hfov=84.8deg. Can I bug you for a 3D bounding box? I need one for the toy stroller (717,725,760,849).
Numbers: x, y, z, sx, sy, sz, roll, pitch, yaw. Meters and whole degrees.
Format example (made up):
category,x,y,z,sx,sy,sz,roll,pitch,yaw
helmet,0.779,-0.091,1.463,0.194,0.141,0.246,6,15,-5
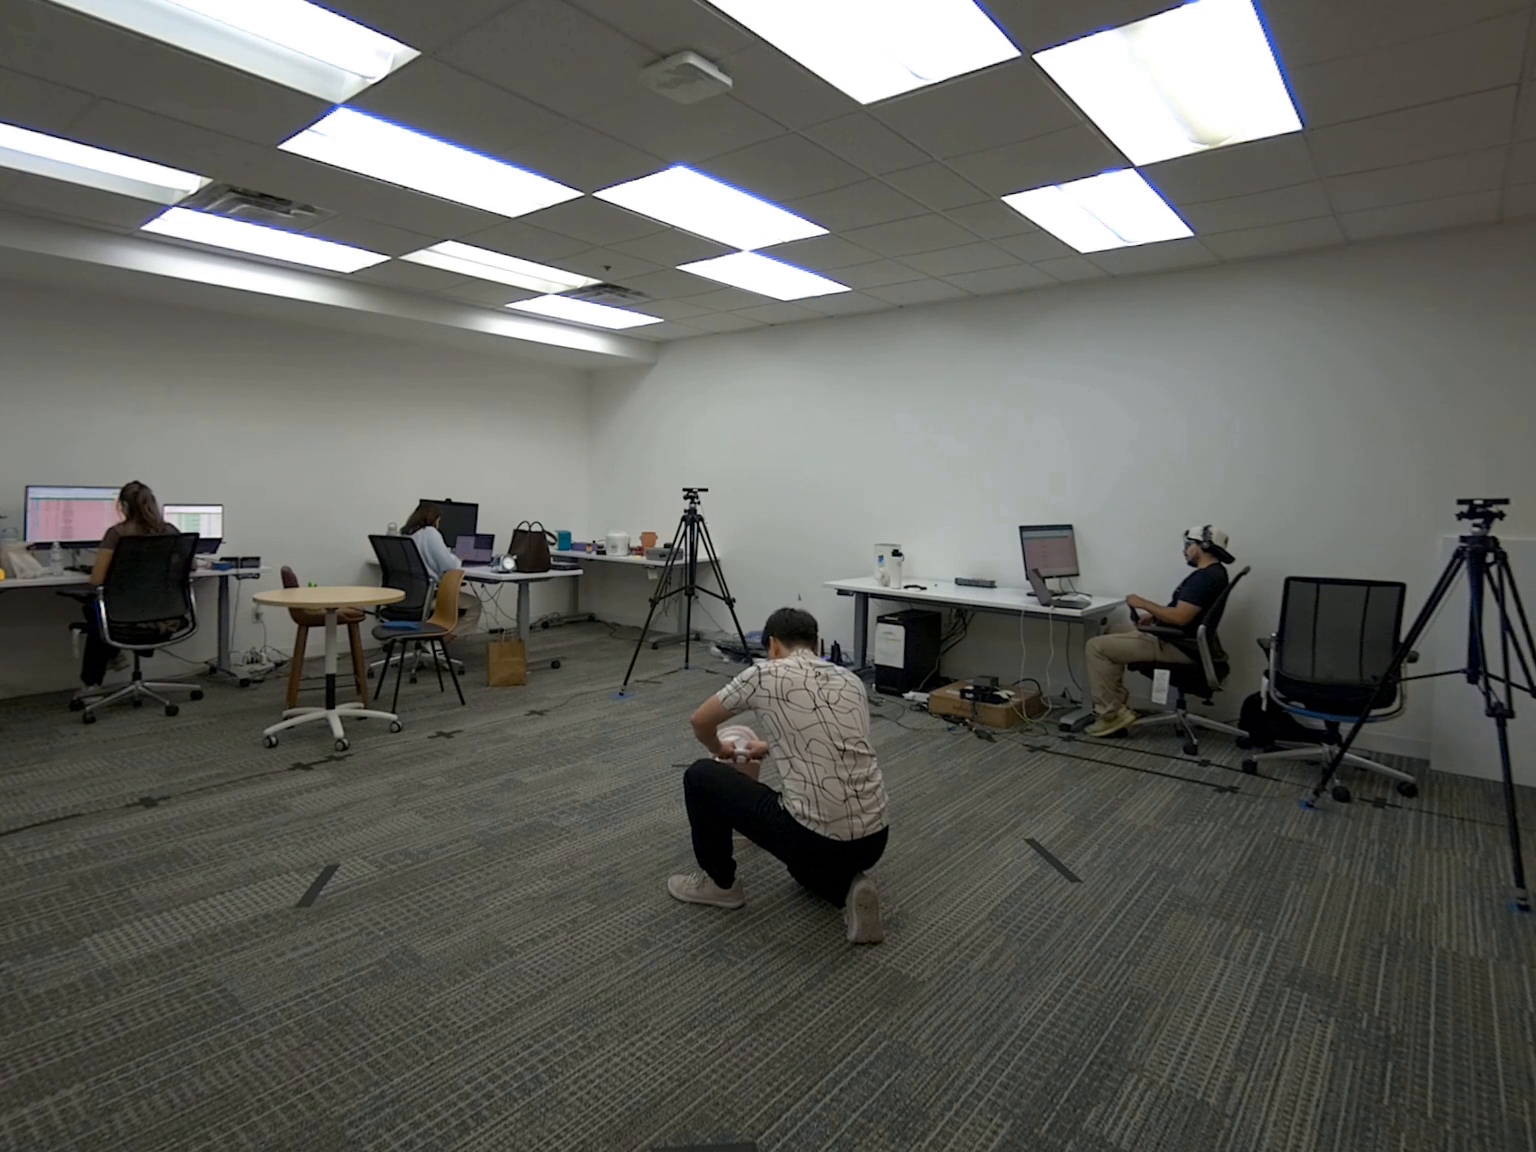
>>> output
category,x,y,z,sx,sy,sz,roll,pitch,yaw
toy stroller,-0.142,0.816,3.382,0.280,0.526,0.349,1,20,-5
